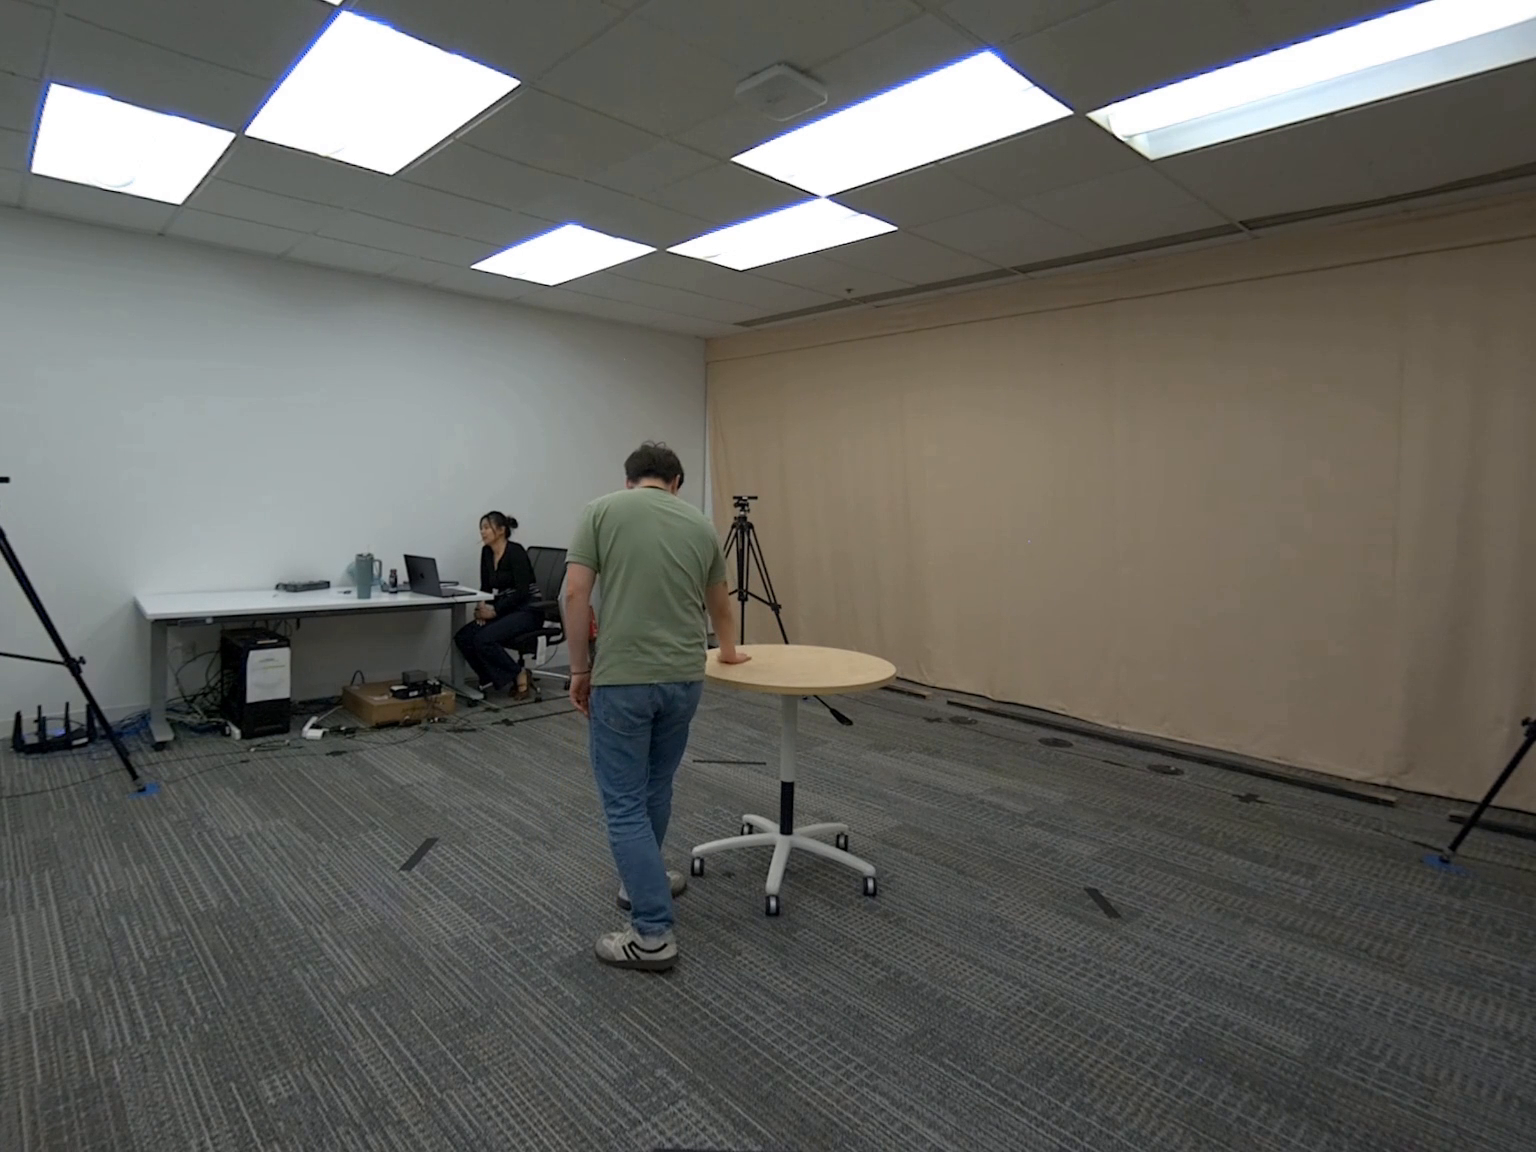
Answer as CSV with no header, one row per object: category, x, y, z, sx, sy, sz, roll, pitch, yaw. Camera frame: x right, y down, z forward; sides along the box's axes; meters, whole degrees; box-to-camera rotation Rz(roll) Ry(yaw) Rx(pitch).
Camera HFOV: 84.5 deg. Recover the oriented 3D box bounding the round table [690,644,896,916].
round table,0.070,0.716,3.136,0.763,0.792,0.766,1,4,-1
